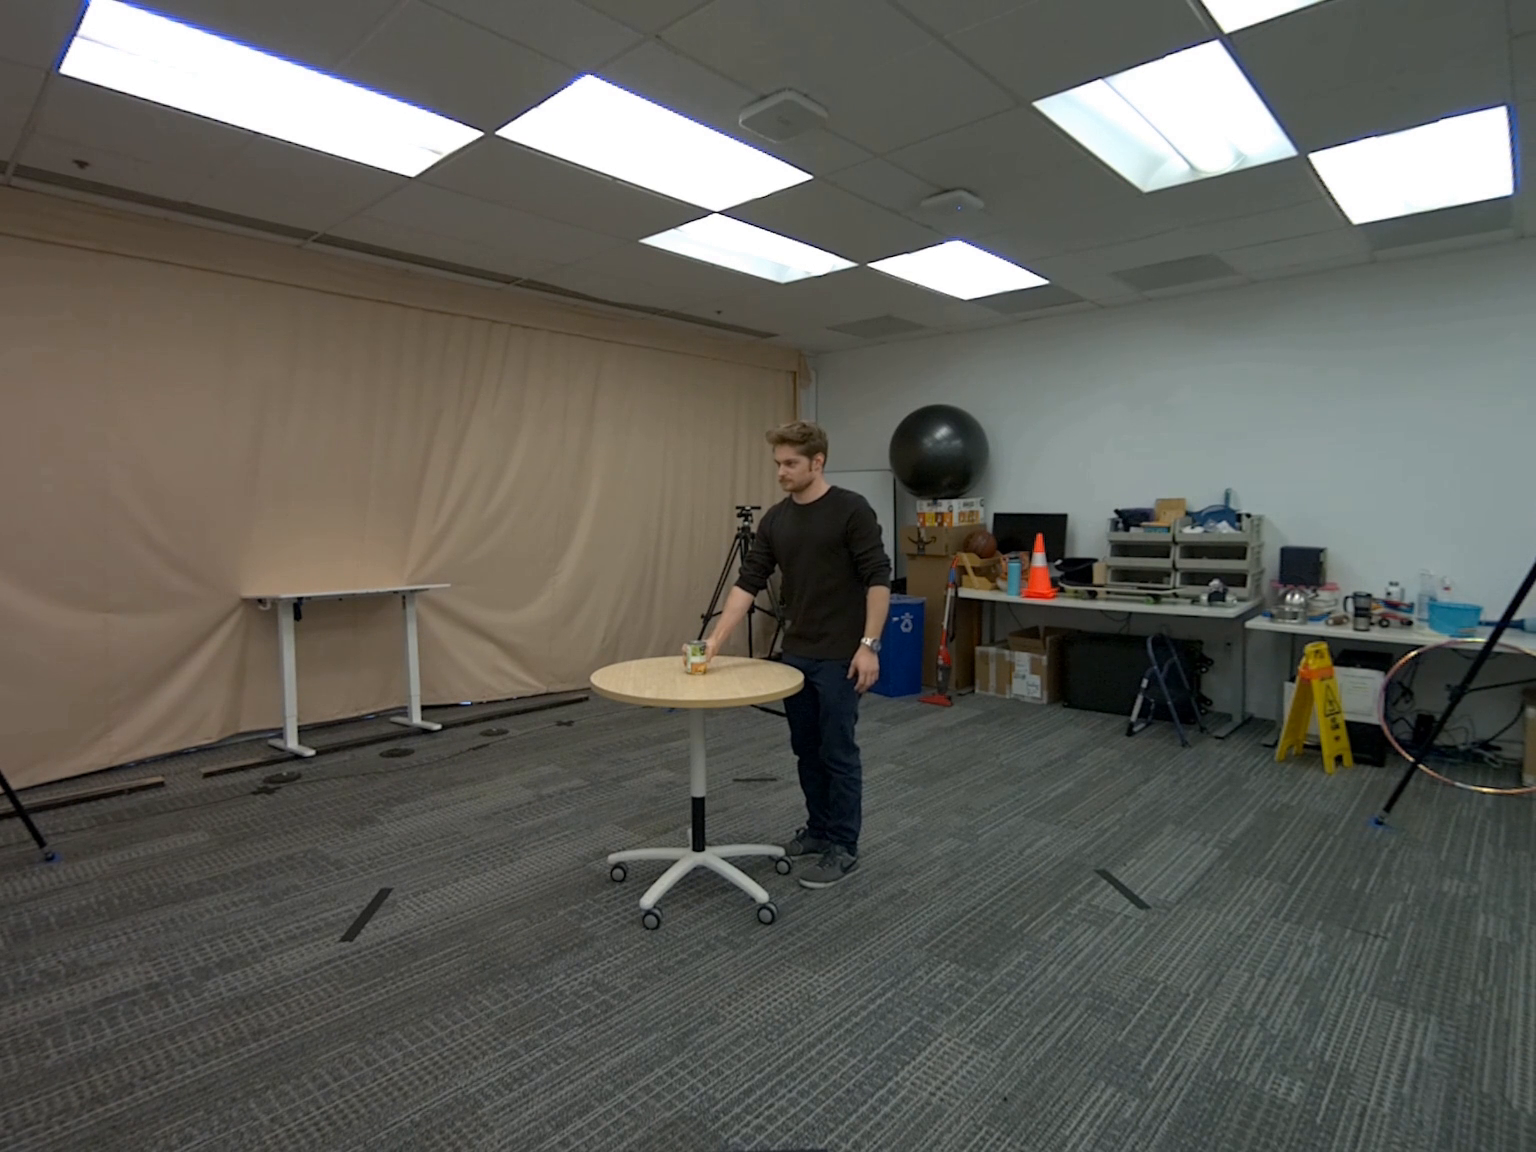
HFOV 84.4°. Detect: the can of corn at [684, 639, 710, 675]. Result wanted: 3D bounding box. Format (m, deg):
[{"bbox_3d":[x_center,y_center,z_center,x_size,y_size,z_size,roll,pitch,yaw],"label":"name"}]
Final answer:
[{"bbox_3d":[-0.261,0.297,3.071,0.074,0.111,0.074,-3,0,-2],"label":"can of corn"}]
